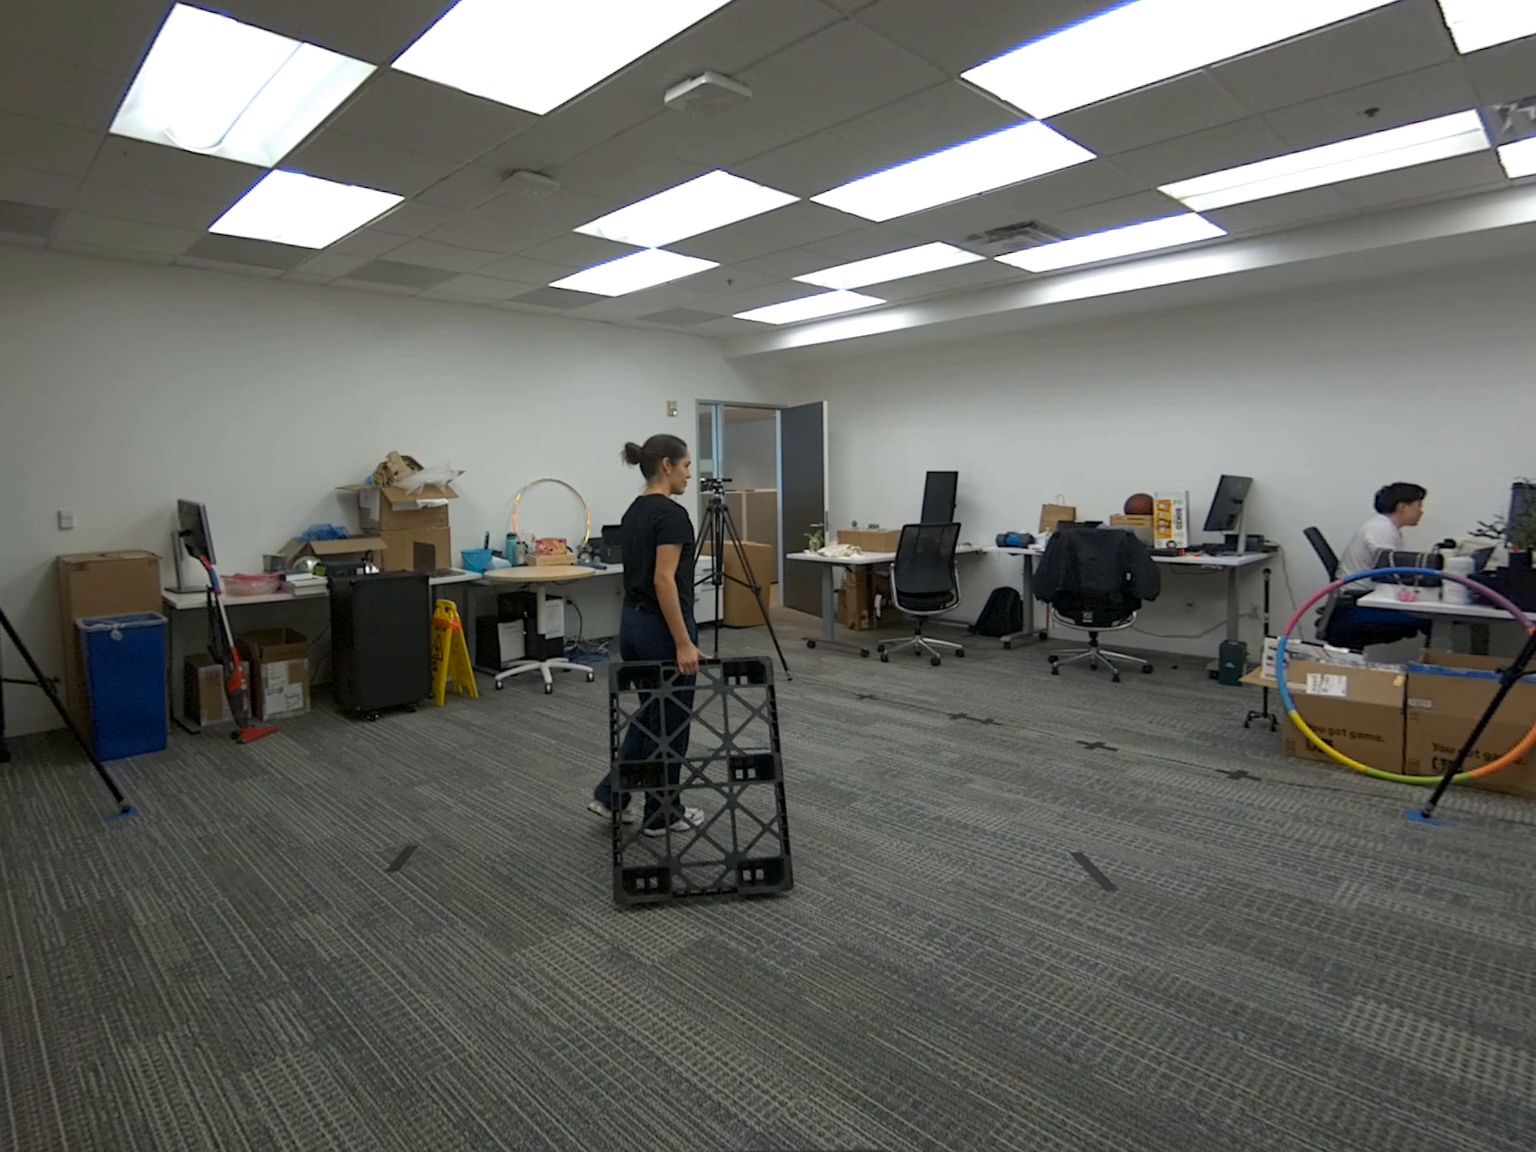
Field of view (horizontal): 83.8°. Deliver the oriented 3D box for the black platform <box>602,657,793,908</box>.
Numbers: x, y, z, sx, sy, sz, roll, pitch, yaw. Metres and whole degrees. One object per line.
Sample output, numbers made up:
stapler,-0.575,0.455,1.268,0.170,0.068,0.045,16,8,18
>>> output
black platform,-0.245,0.696,3.014,0.600,0.821,0.141,-1,-22,-8
